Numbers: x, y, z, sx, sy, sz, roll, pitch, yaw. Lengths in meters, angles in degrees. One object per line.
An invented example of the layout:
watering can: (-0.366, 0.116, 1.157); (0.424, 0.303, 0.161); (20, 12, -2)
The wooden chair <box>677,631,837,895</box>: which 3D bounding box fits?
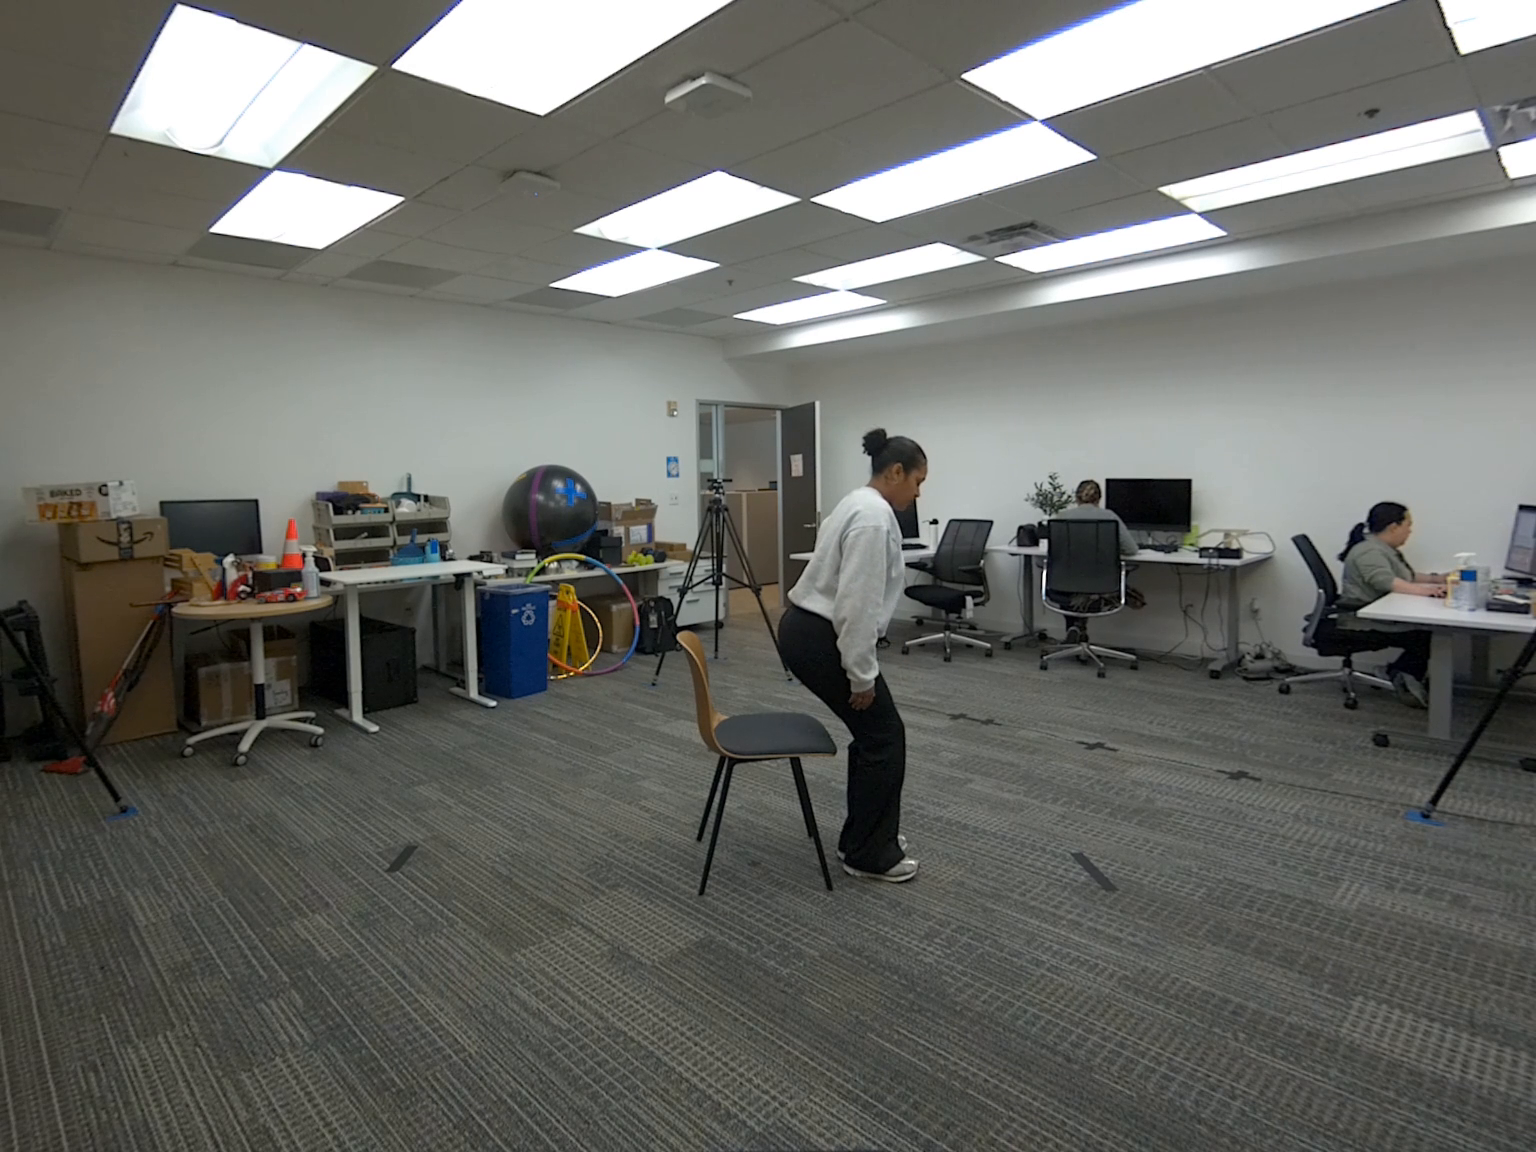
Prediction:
wooden chair: (-0.028, 0.617, 3.070); (0.521, 0.874, 0.482); (-5, 4, -4)
